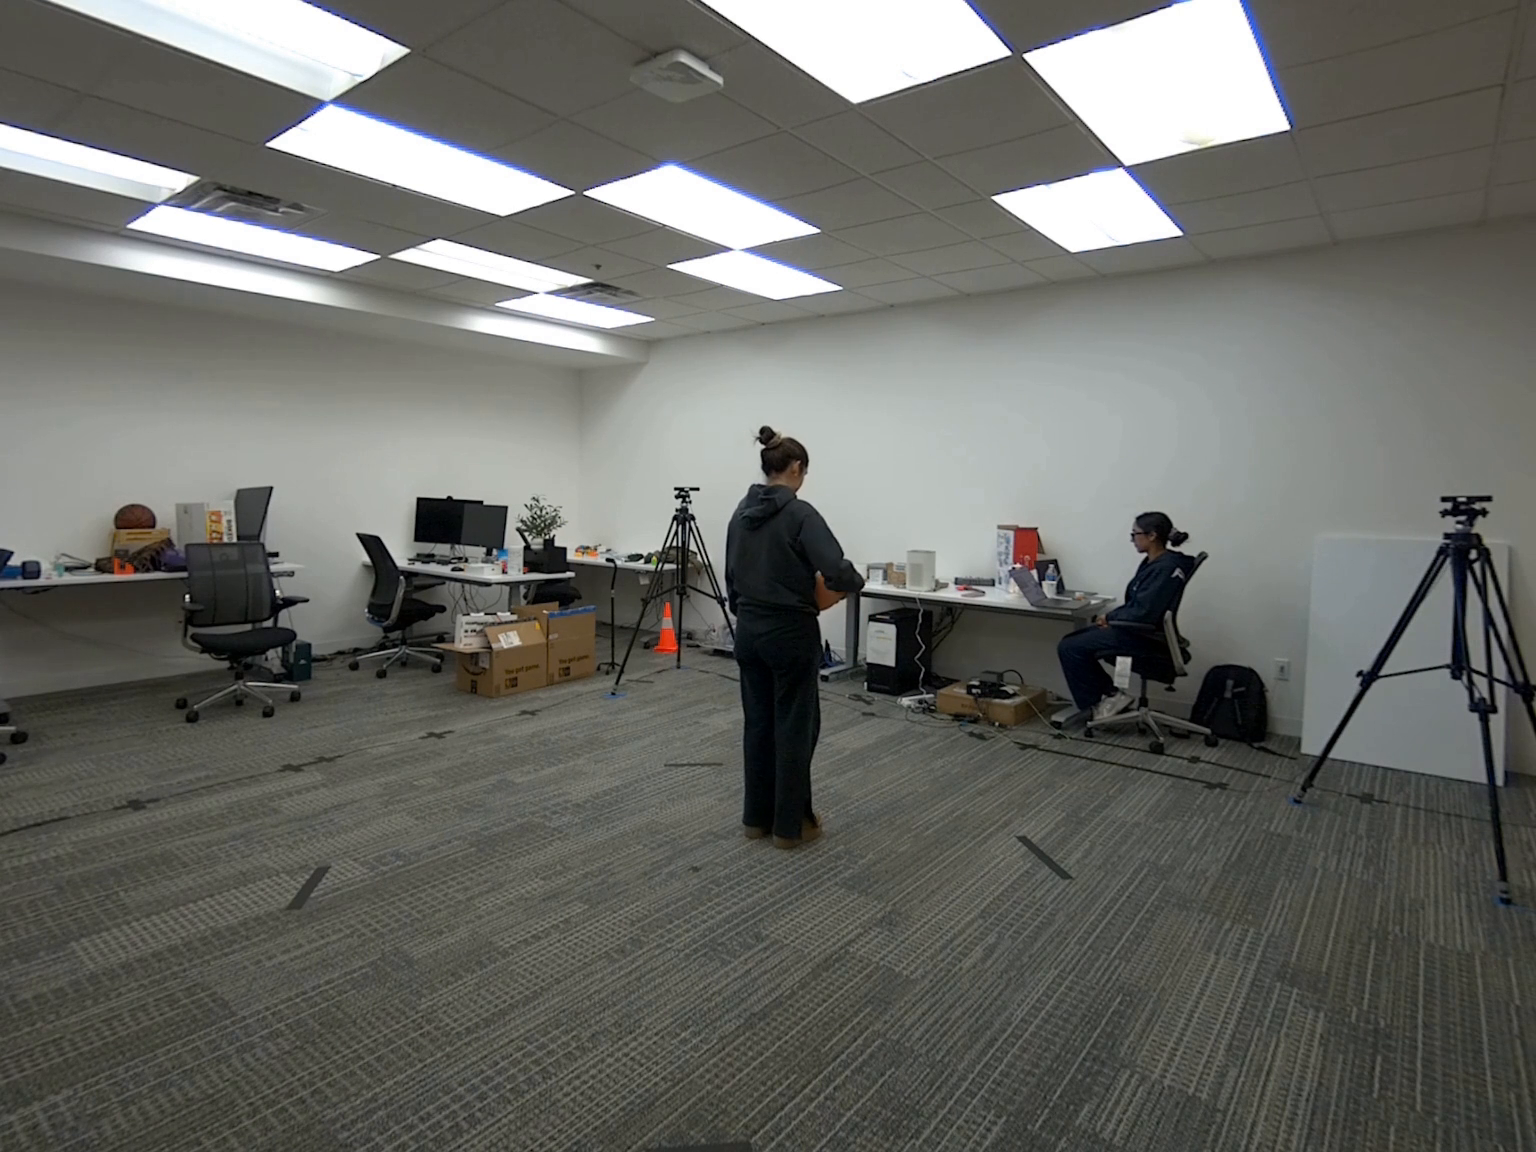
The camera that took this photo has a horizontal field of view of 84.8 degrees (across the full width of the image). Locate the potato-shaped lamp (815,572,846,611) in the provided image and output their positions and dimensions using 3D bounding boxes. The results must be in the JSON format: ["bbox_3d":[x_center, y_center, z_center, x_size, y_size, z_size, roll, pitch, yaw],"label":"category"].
[{"bbox_3d":[0.236,0.037,3.419,0.196,0.167,0.171,-19,27,-14],"label":"potato-shaped lamp"}]
